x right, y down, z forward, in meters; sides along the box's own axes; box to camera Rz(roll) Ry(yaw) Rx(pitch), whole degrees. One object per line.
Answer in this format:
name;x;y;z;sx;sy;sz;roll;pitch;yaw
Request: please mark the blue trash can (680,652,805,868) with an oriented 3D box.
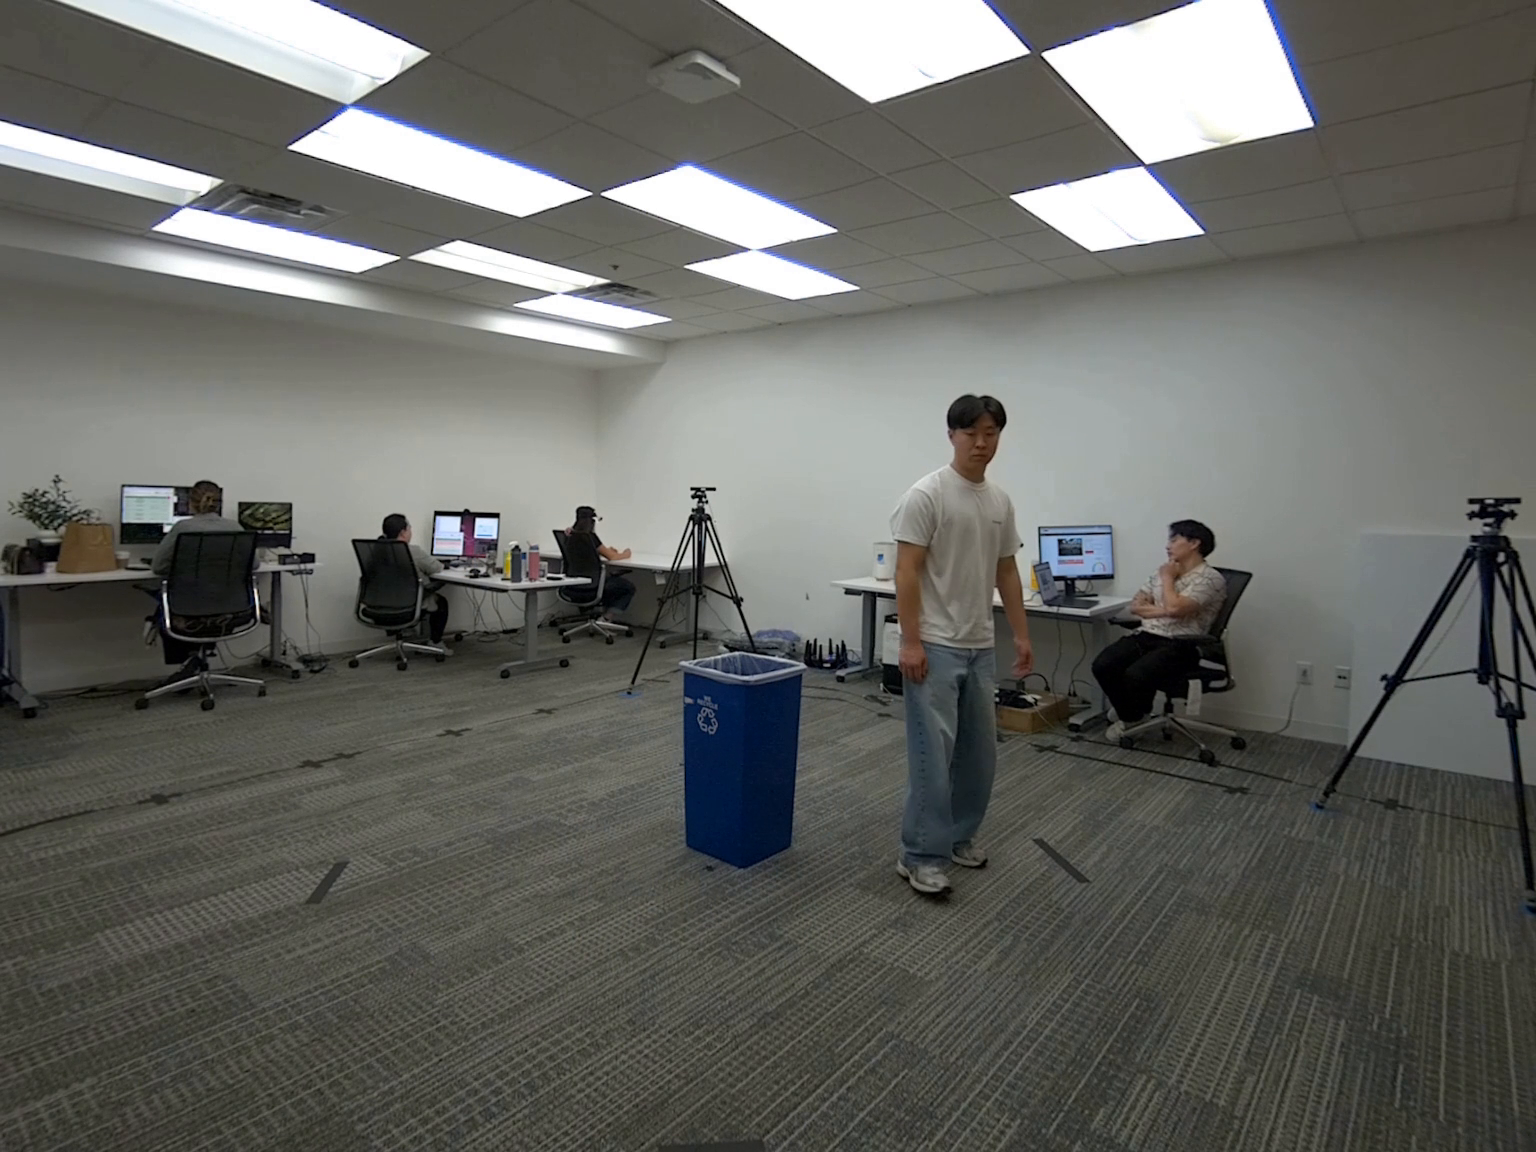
blue trash can;-0.108;0.691;3.296;0.386;0.711;0.367;3;4;40
